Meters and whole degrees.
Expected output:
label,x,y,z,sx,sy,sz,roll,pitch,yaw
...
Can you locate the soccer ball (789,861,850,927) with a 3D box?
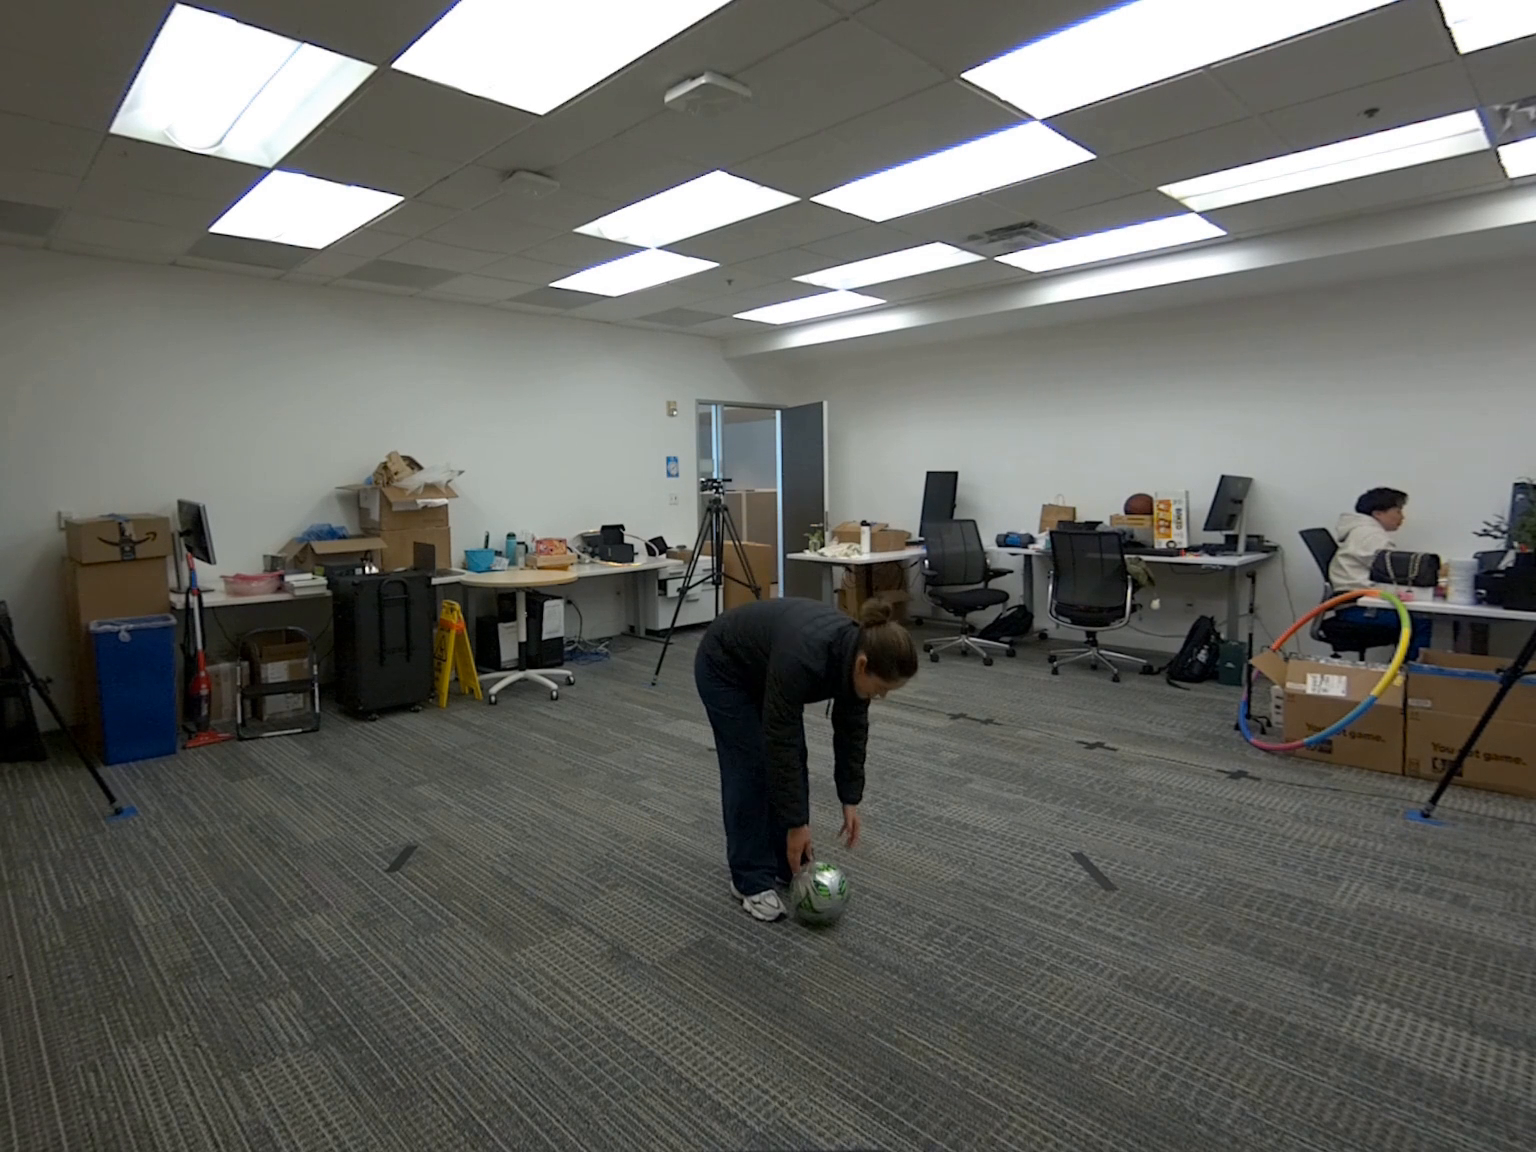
label,x,y,z,sx,sy,sz,roll,pitch,yaw
soccer ball,0.166,0.995,2.691,0.187,0.187,0.188,-1,5,-2
